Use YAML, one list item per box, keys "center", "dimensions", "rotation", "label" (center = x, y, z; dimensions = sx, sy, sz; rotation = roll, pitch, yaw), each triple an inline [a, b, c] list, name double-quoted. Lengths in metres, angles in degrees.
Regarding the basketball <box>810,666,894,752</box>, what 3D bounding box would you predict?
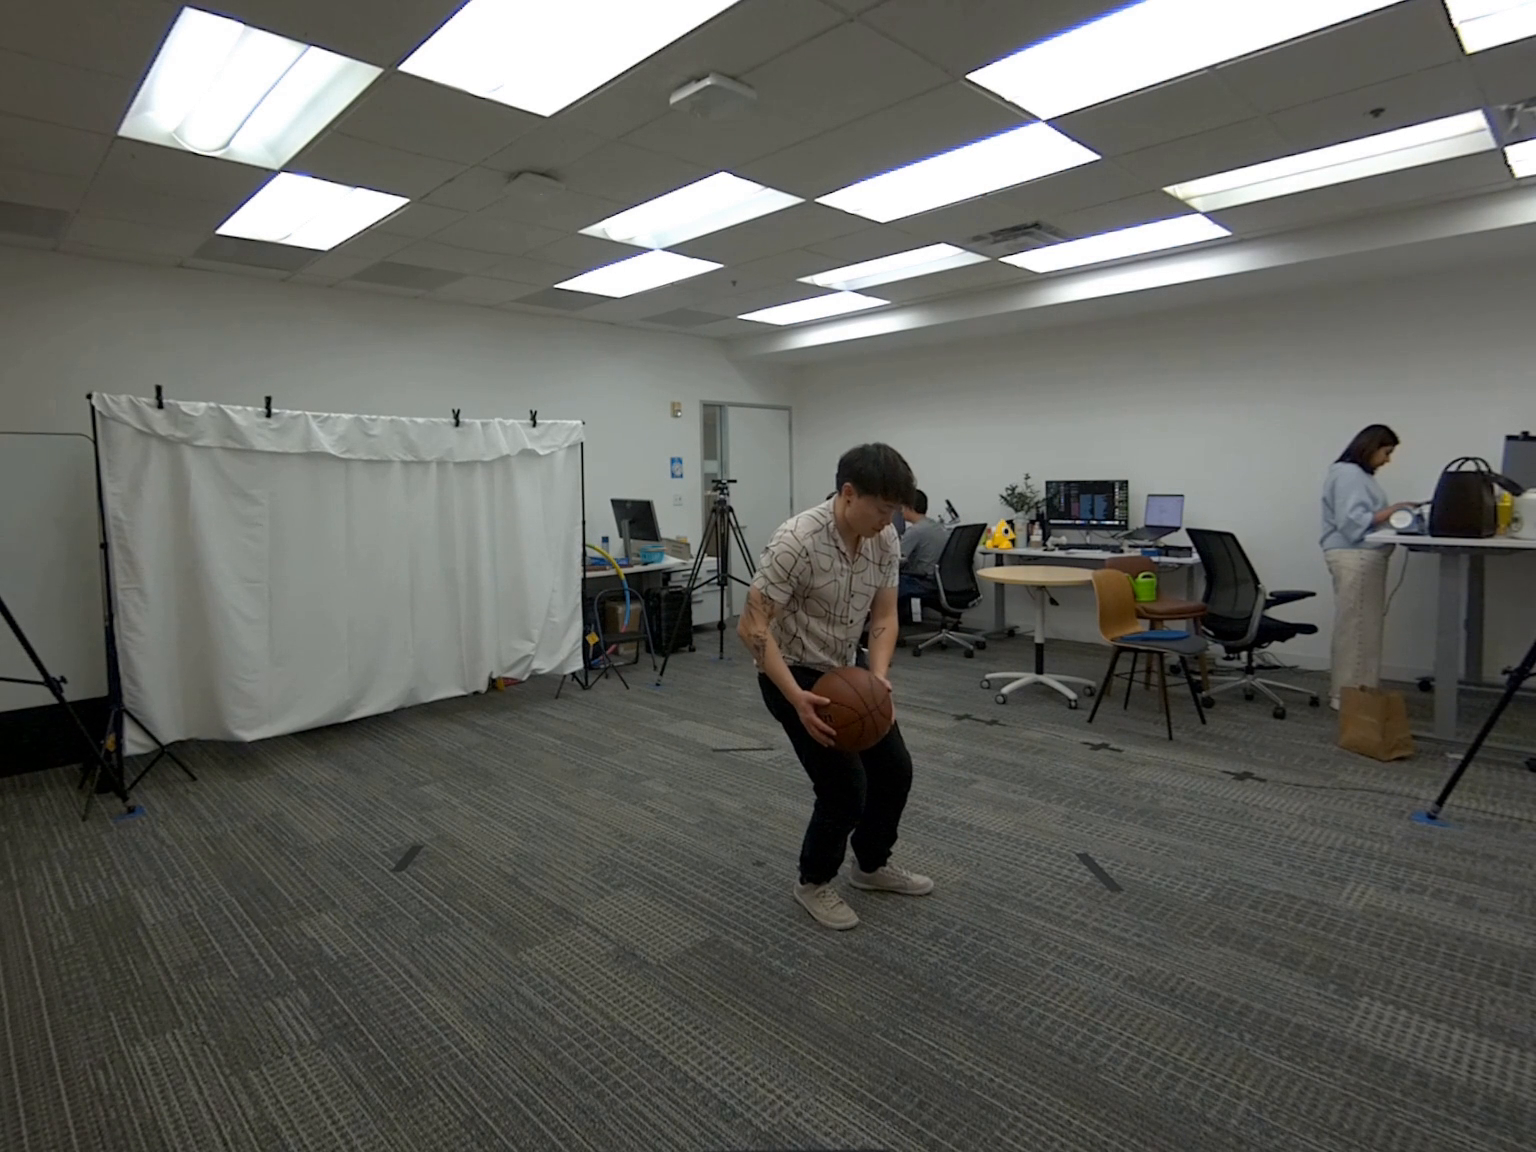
- center: [0.241, 0.383, 2.430]
  dimensions: [0.236, 0.235, 0.237]
  rotation: [-1, 5, -2]
  label: "basketball"
